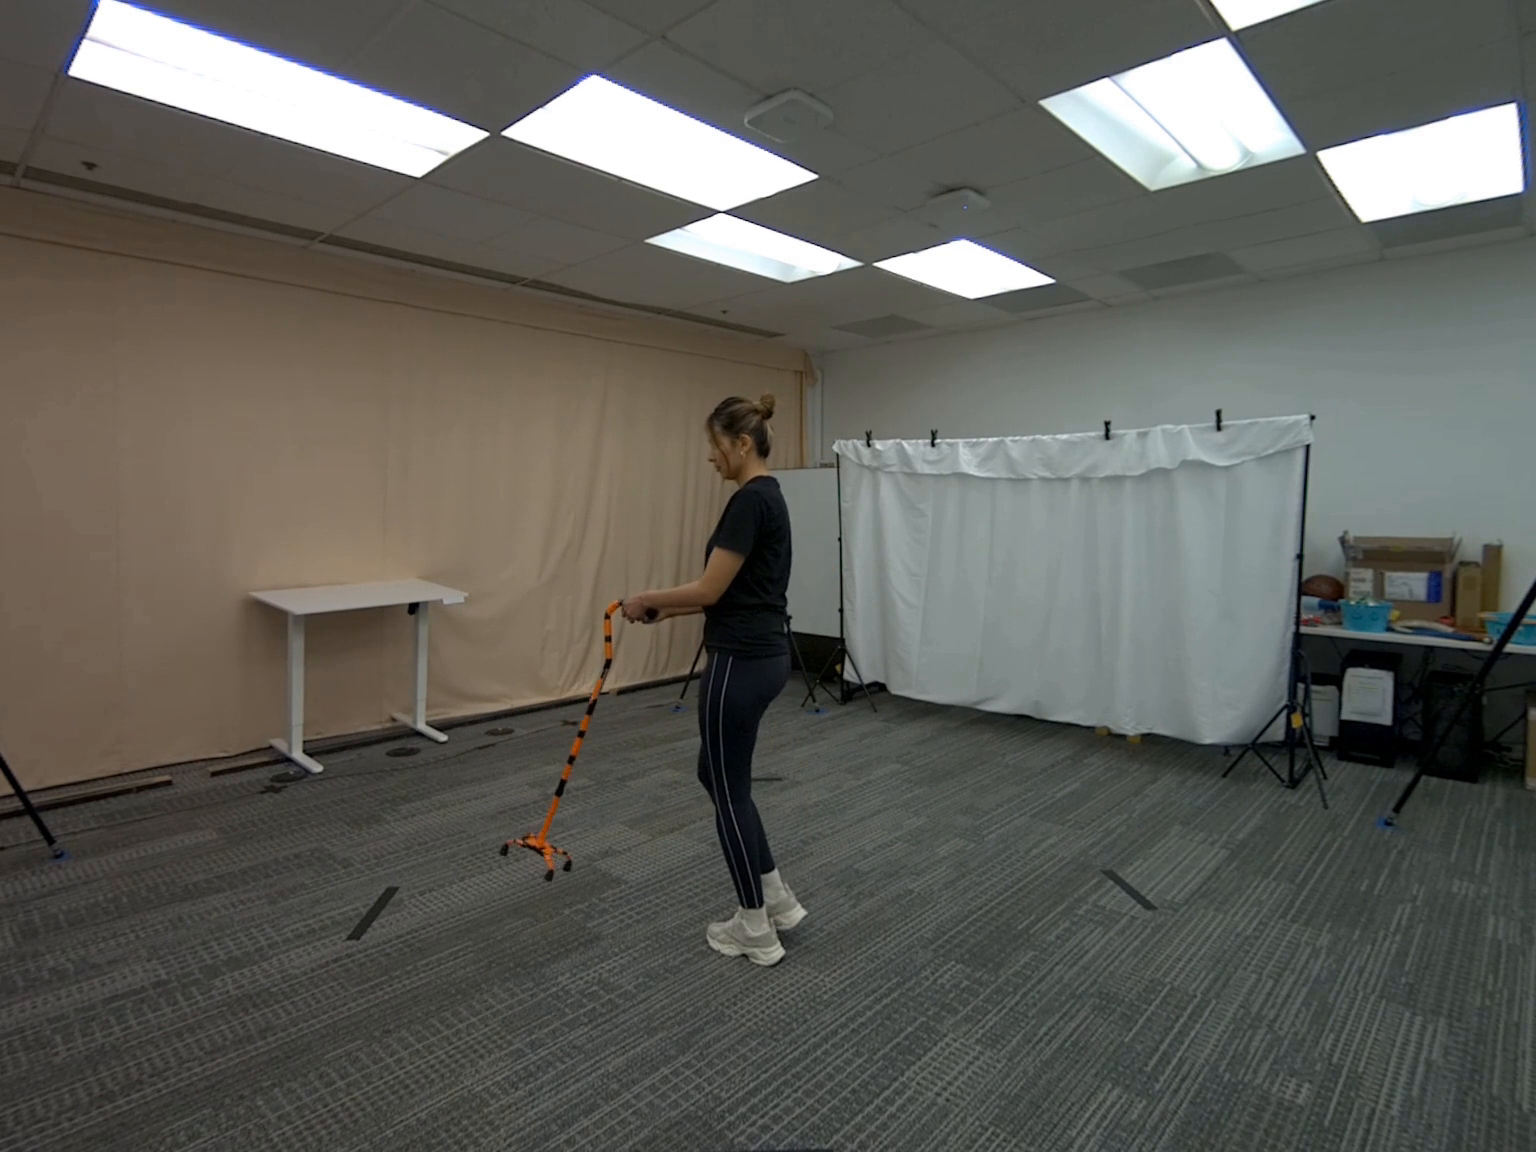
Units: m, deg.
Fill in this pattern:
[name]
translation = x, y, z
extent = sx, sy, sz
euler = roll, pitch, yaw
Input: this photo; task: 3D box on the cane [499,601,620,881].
[cane]
translation = -0.591, 0.521, 2.728
extent = 0.211, 0.907, 0.148
euler = 20, 1, 18
